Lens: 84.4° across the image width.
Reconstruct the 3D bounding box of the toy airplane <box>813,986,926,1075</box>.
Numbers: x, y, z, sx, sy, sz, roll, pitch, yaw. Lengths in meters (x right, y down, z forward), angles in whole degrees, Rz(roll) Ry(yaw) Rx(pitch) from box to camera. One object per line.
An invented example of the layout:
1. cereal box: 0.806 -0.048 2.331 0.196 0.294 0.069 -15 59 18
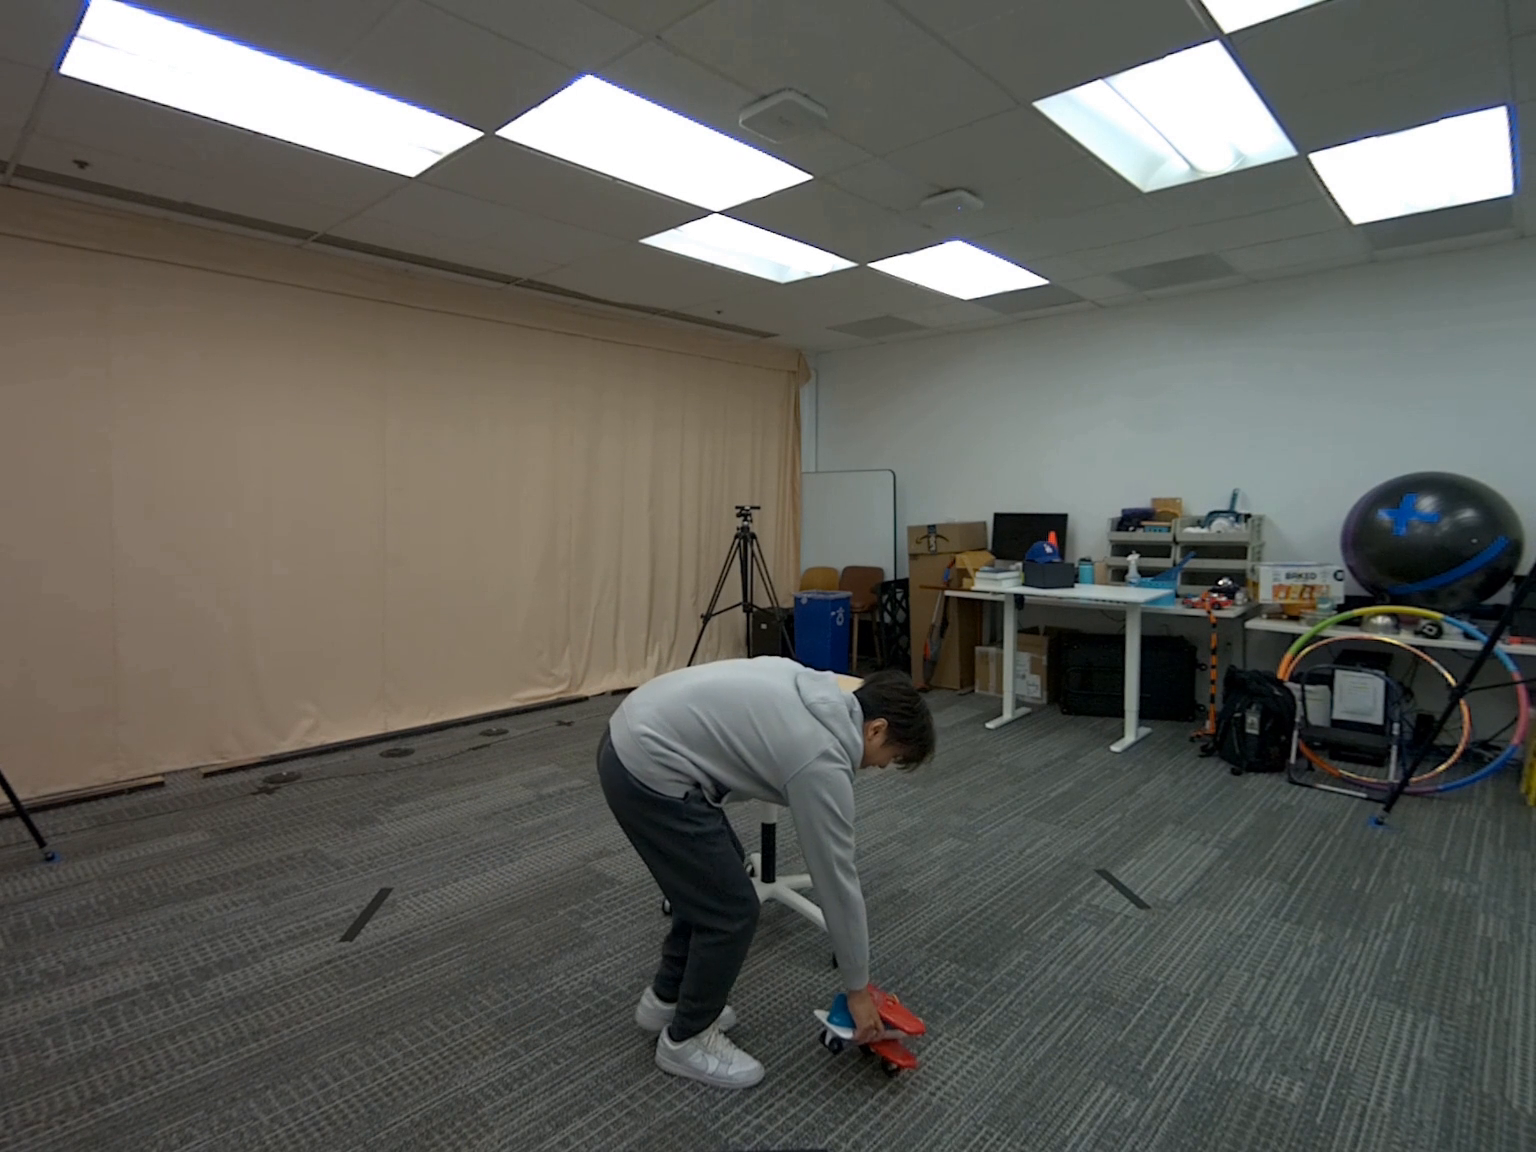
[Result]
1. toy airplane: 0.257 1.121 2.051 0.259 0.156 0.250 19 -14 32
